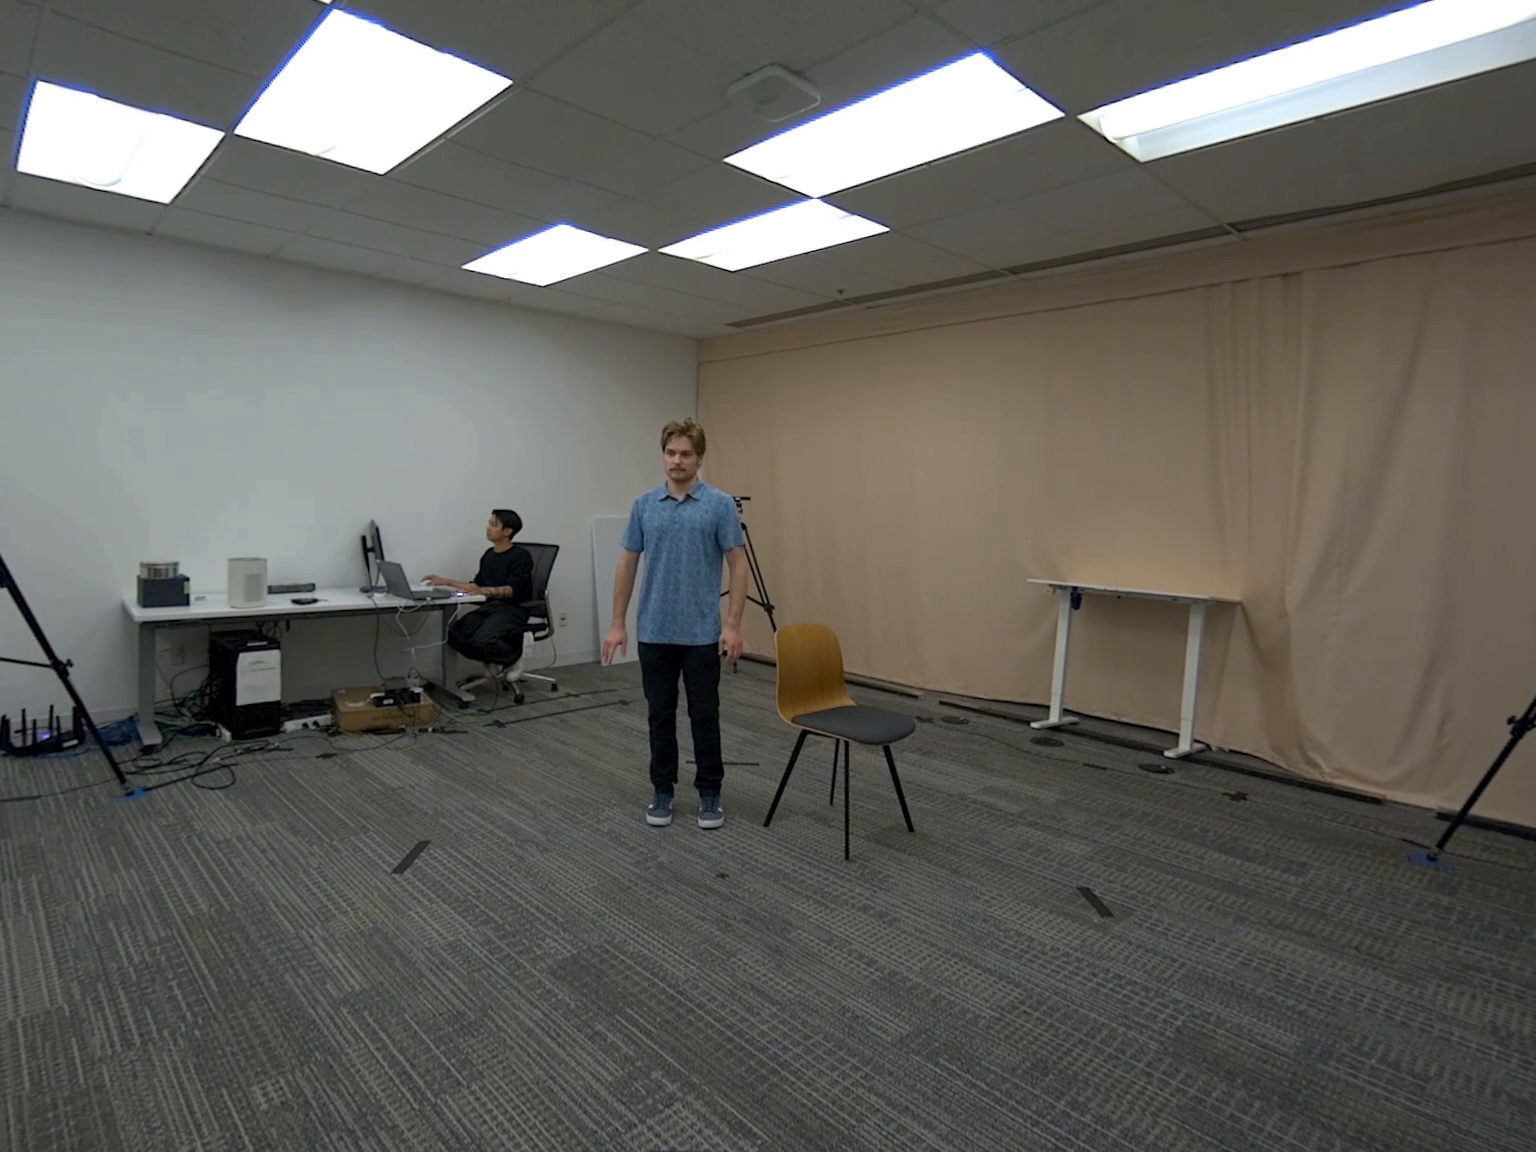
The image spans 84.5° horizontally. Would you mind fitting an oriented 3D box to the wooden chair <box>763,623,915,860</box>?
[{"bbox_3d":[0.306,0.650,3.540,0.467,0.878,0.535,-1,-1,-45],"label":"wooden chair"}]
